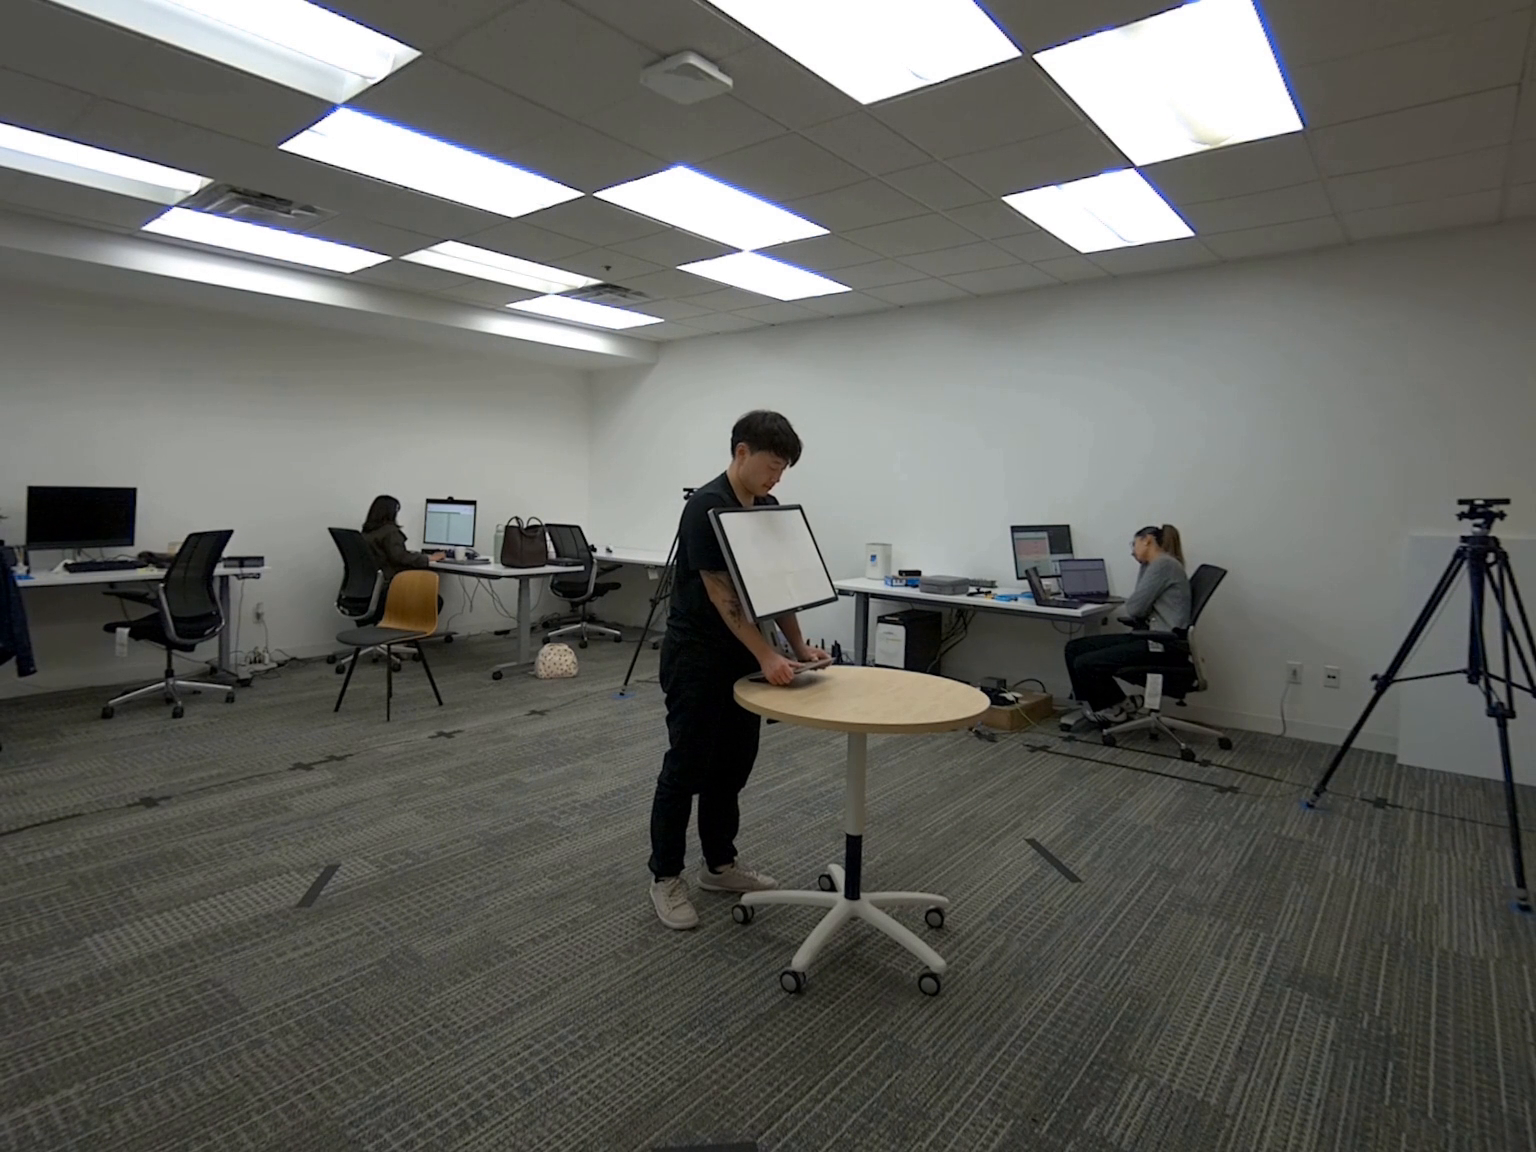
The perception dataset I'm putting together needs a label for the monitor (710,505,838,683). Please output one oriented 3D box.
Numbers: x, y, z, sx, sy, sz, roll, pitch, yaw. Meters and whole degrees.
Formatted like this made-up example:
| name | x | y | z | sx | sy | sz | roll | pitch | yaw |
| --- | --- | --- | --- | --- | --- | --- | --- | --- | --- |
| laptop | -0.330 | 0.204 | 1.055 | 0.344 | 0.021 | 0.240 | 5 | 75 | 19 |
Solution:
| name | x | y | z | sx | sy | sz | roll | pitch | yaw |
| --- | --- | --- | --- | --- | --- | --- | --- | --- | --- |
| monitor | 0.023 | 0.035 | 2.743 | 0.191 | 0.525 | 0.525 | -14 | -3 | 30 |
